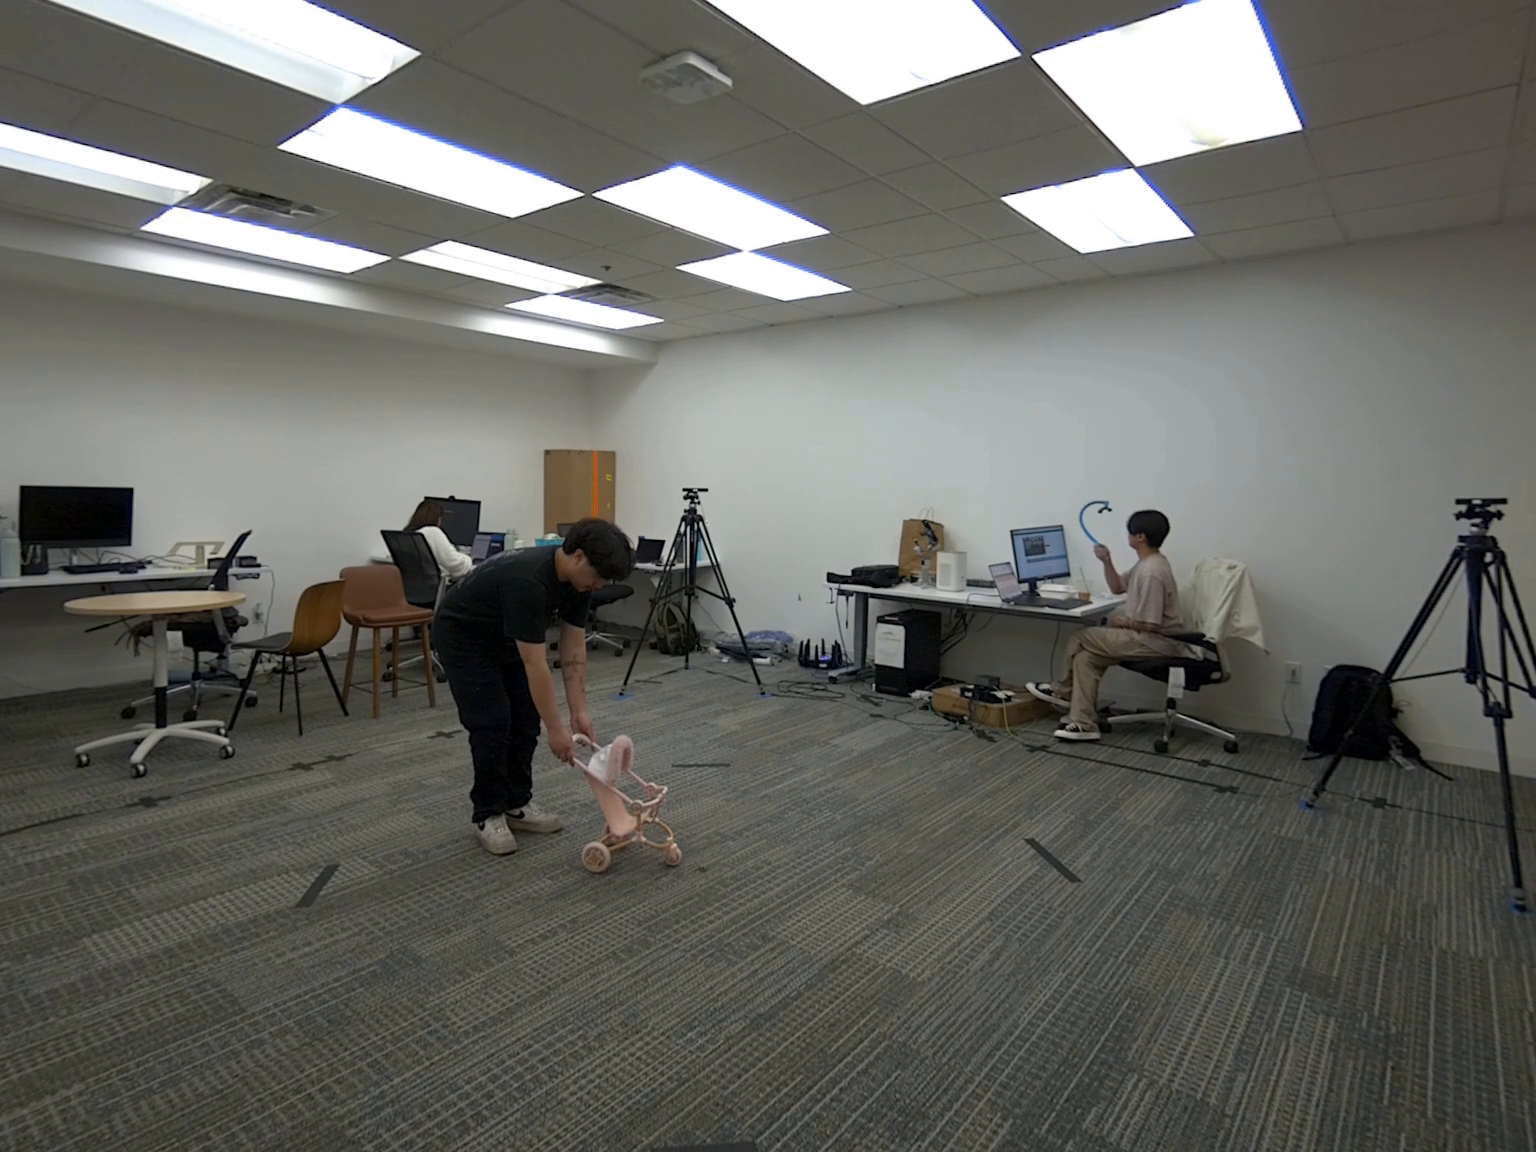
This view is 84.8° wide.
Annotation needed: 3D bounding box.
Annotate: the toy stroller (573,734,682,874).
[{"bbox_3d":[-0.546,0.834,3.163,0.346,0.535,0.278,-14,0,15],"label":"toy stroller"}]
